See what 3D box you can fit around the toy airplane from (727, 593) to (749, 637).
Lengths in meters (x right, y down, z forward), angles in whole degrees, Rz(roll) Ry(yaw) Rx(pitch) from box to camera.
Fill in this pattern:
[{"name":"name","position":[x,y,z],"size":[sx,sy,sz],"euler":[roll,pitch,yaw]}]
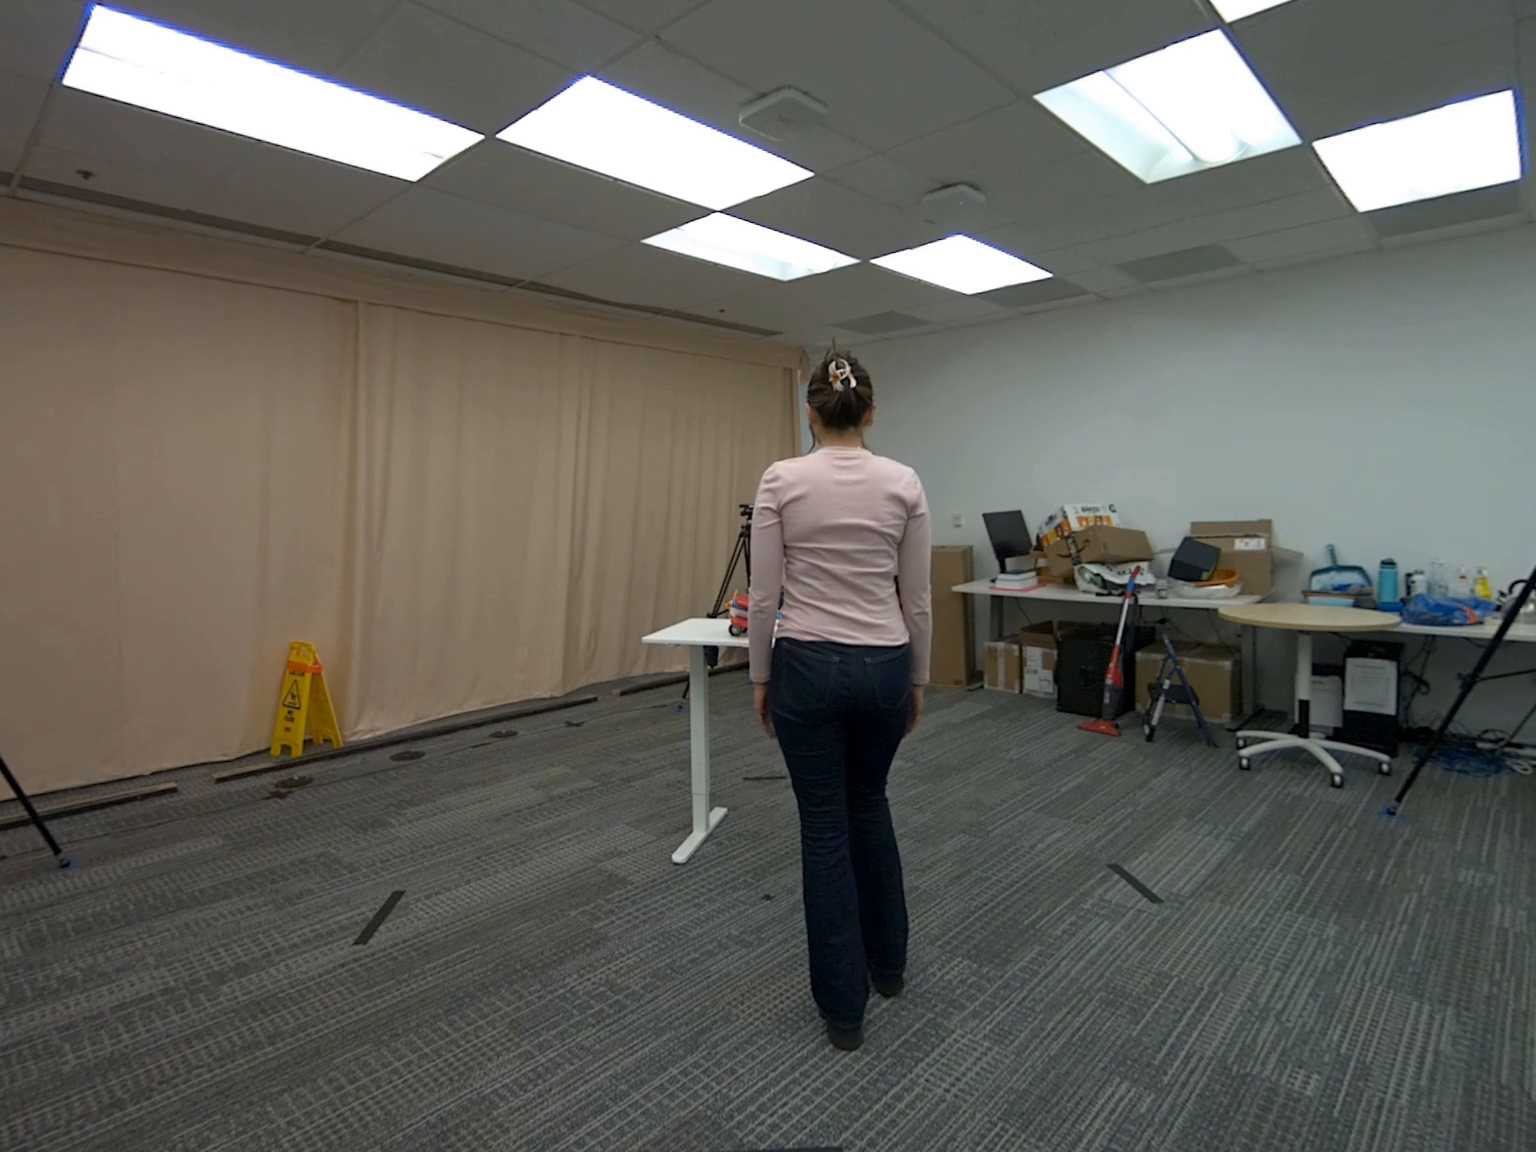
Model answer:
[{"name":"toy airplane","position":[-0.028,0.154,3.300],"size":[0.256,0.156,0.254],"euler":[-2,4,-11]}]
